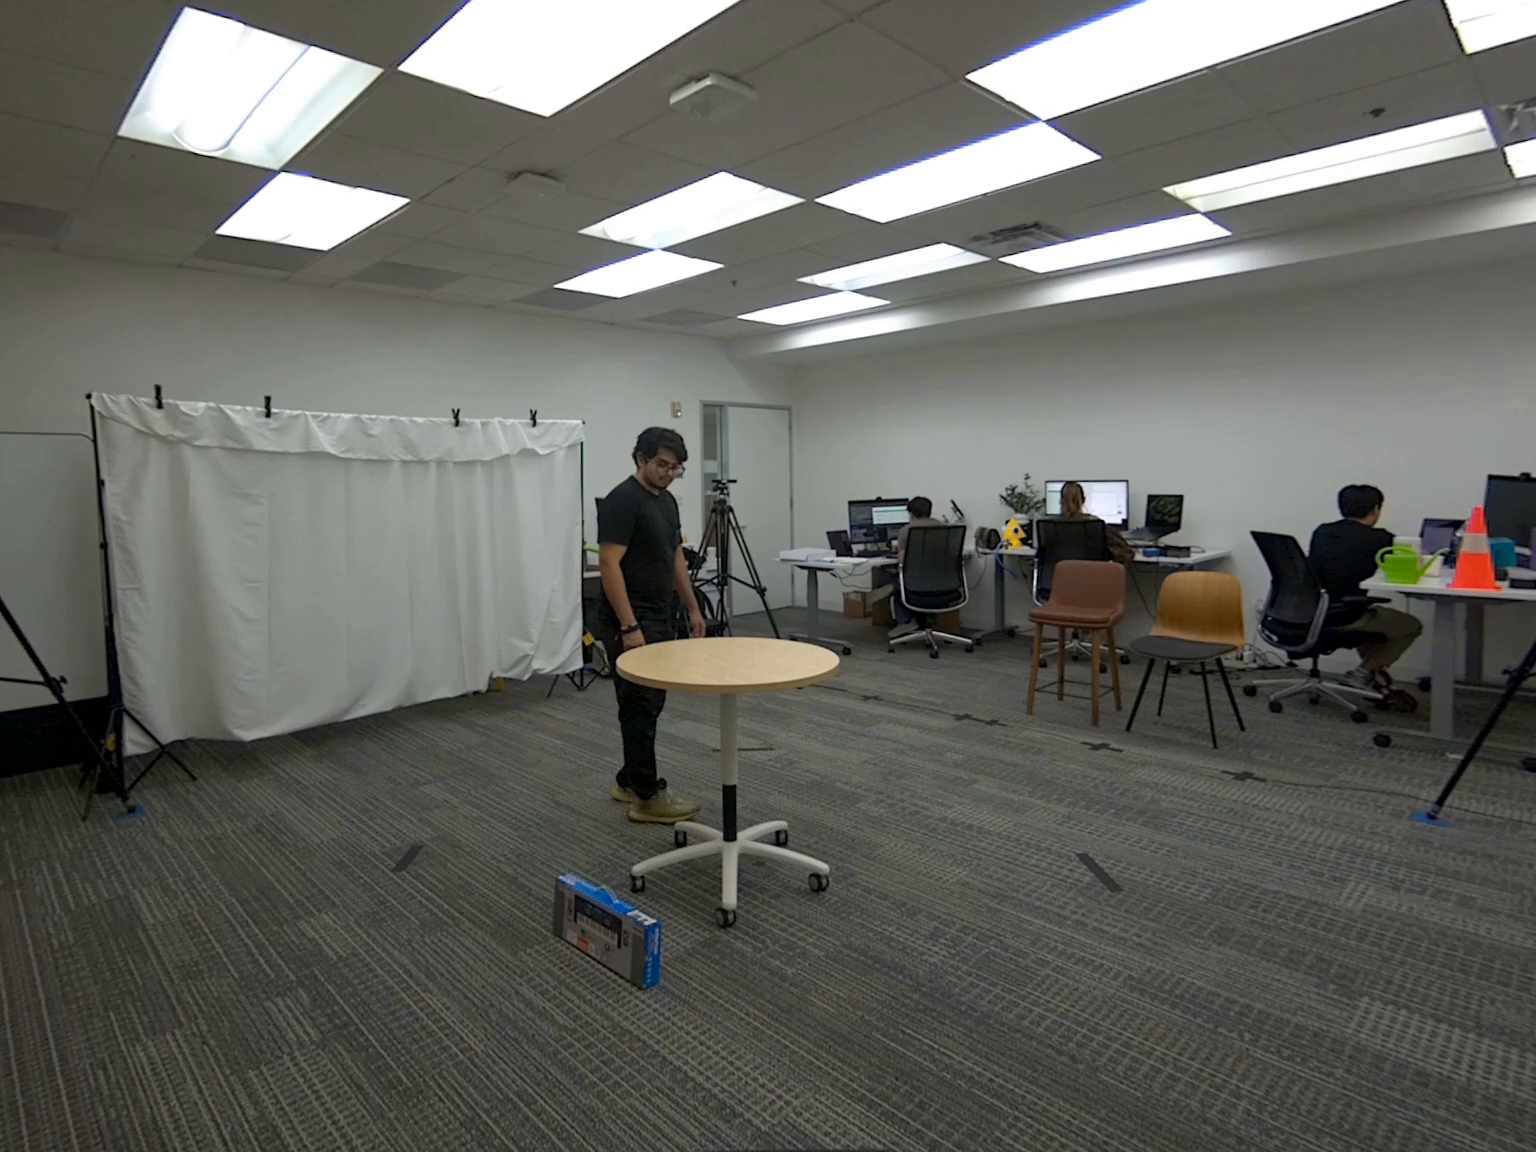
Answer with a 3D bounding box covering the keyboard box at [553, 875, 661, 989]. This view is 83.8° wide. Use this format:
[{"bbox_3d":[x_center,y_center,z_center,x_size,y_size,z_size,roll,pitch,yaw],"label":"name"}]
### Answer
[{"bbox_3d":[-0.482,1.043,2.515,0.450,0.176,0.057,5,2,42],"label":"keyboard box"}]
